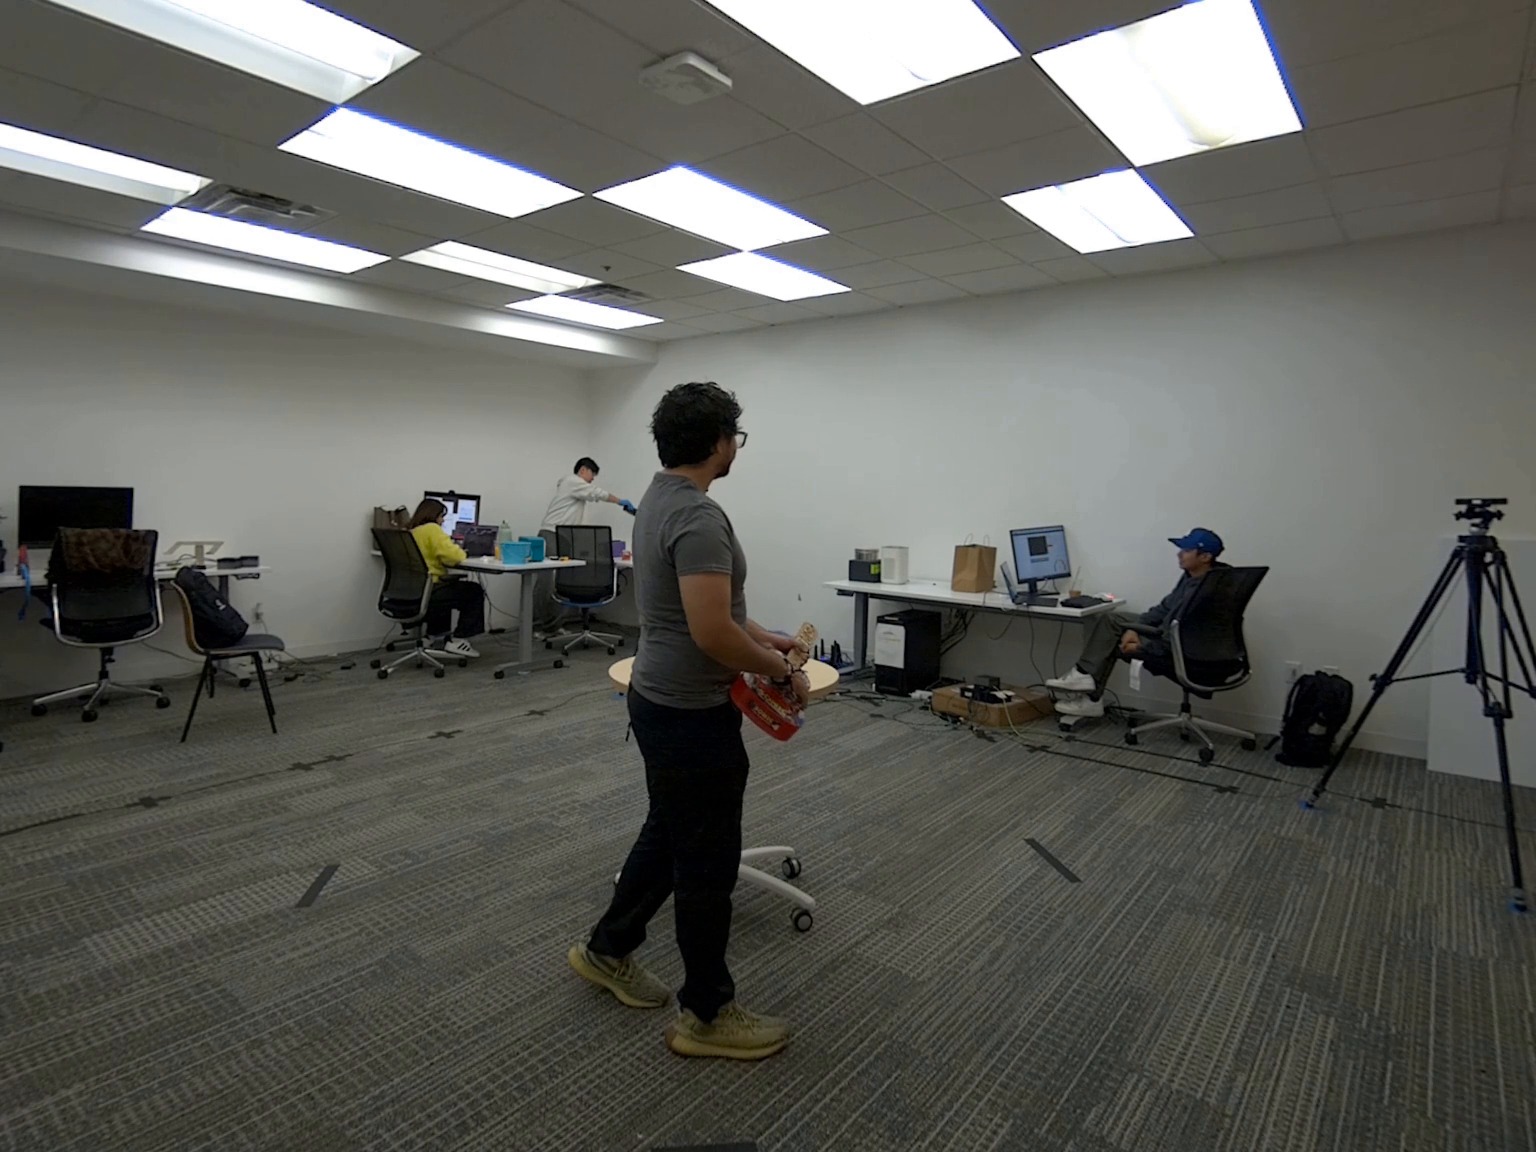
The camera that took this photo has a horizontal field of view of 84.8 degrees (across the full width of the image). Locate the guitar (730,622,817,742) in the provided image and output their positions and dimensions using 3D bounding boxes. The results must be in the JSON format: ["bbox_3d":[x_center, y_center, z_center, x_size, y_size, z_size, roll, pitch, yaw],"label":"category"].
[{"bbox_3d":[0.061,0.271,2.243,0.196,0.070,0.491,43,25,8],"label":"guitar"}]
